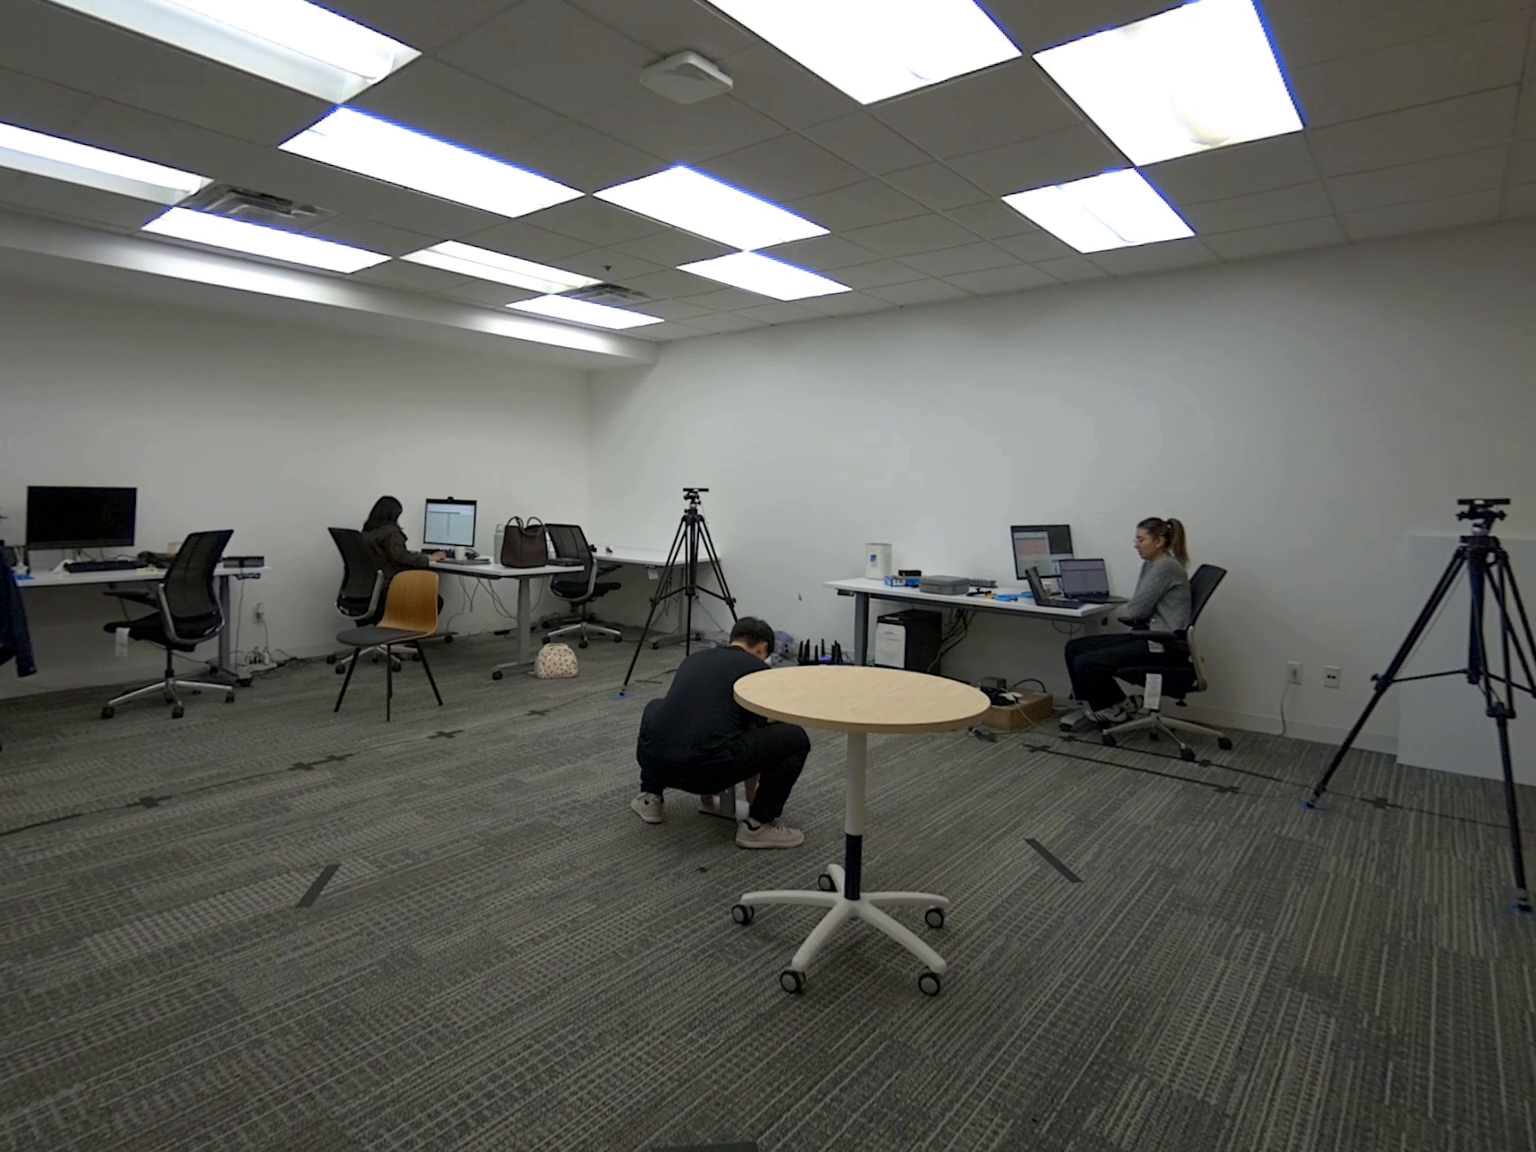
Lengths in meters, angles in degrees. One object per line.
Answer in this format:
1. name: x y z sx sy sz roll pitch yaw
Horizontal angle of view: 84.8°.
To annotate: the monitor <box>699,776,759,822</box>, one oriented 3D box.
1. monitor: -0.149 0.745 3.675 0.554 0.522 0.182 3 1 27
